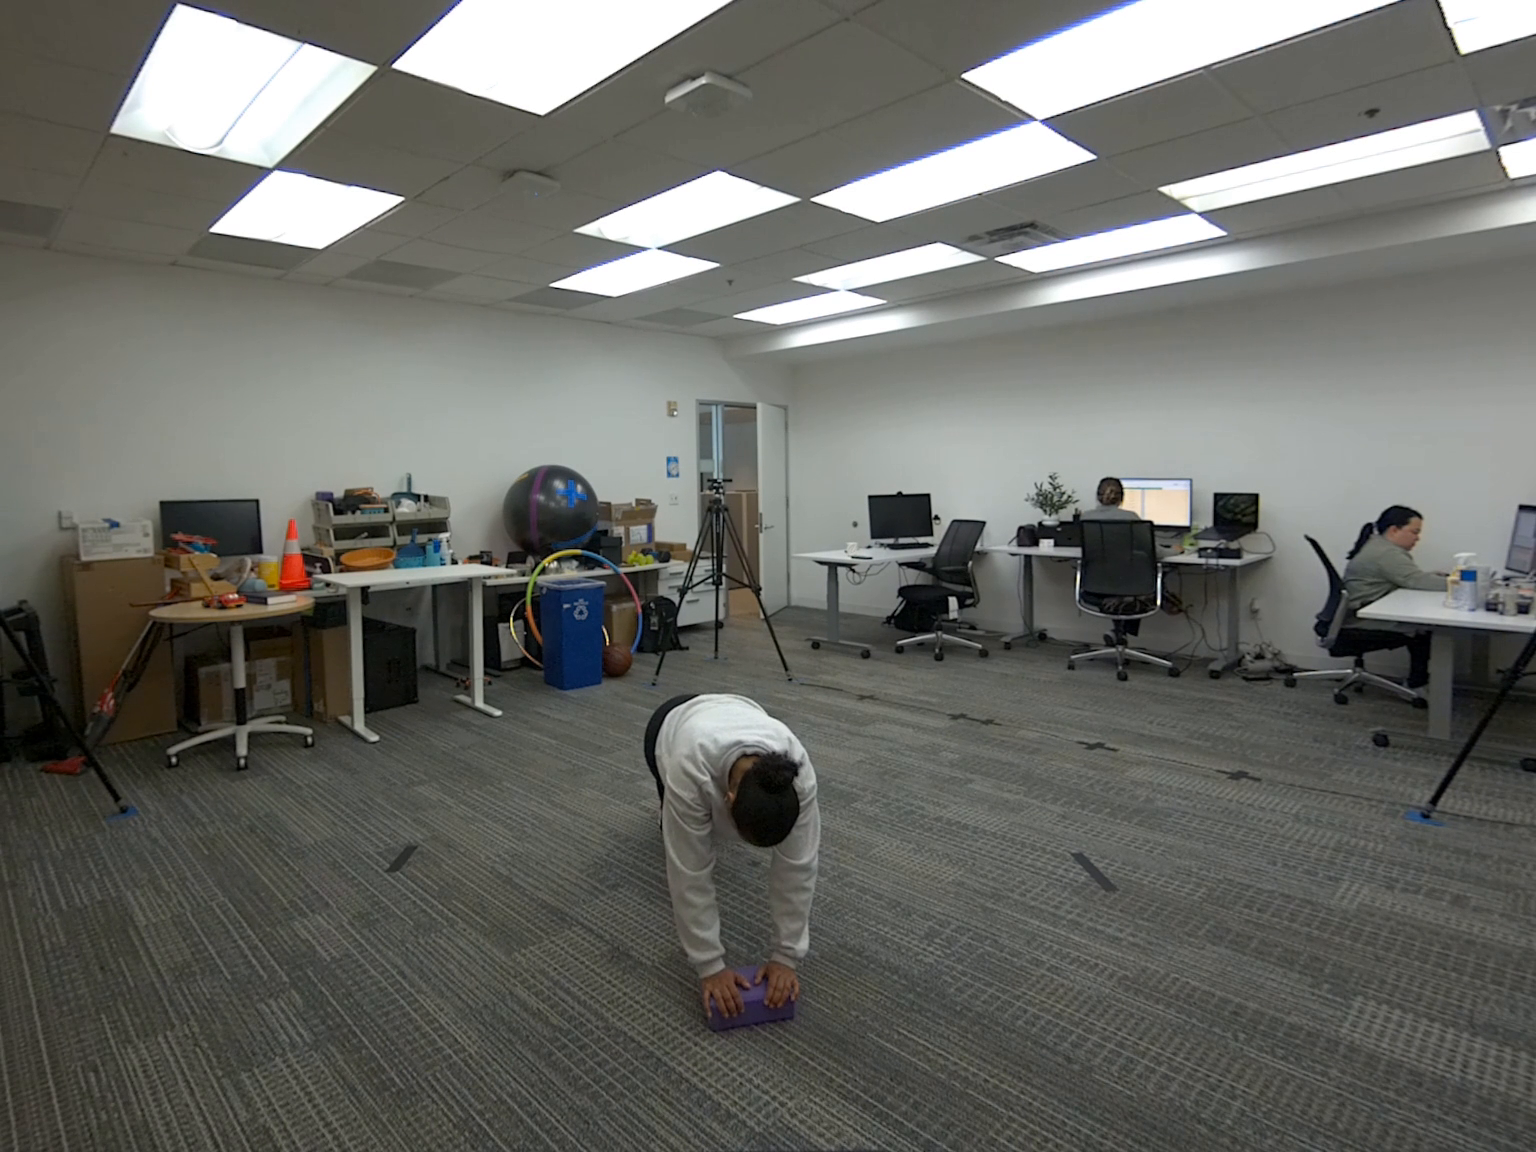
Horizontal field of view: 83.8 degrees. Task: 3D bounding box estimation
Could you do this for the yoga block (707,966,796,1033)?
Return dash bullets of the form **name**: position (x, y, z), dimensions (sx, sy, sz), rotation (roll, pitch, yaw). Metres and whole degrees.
- **yoga block**: position (-0.047, 1.117, 2.255), dimensions (0.226, 0.076, 0.151), rotation (-1, 6, -13)
